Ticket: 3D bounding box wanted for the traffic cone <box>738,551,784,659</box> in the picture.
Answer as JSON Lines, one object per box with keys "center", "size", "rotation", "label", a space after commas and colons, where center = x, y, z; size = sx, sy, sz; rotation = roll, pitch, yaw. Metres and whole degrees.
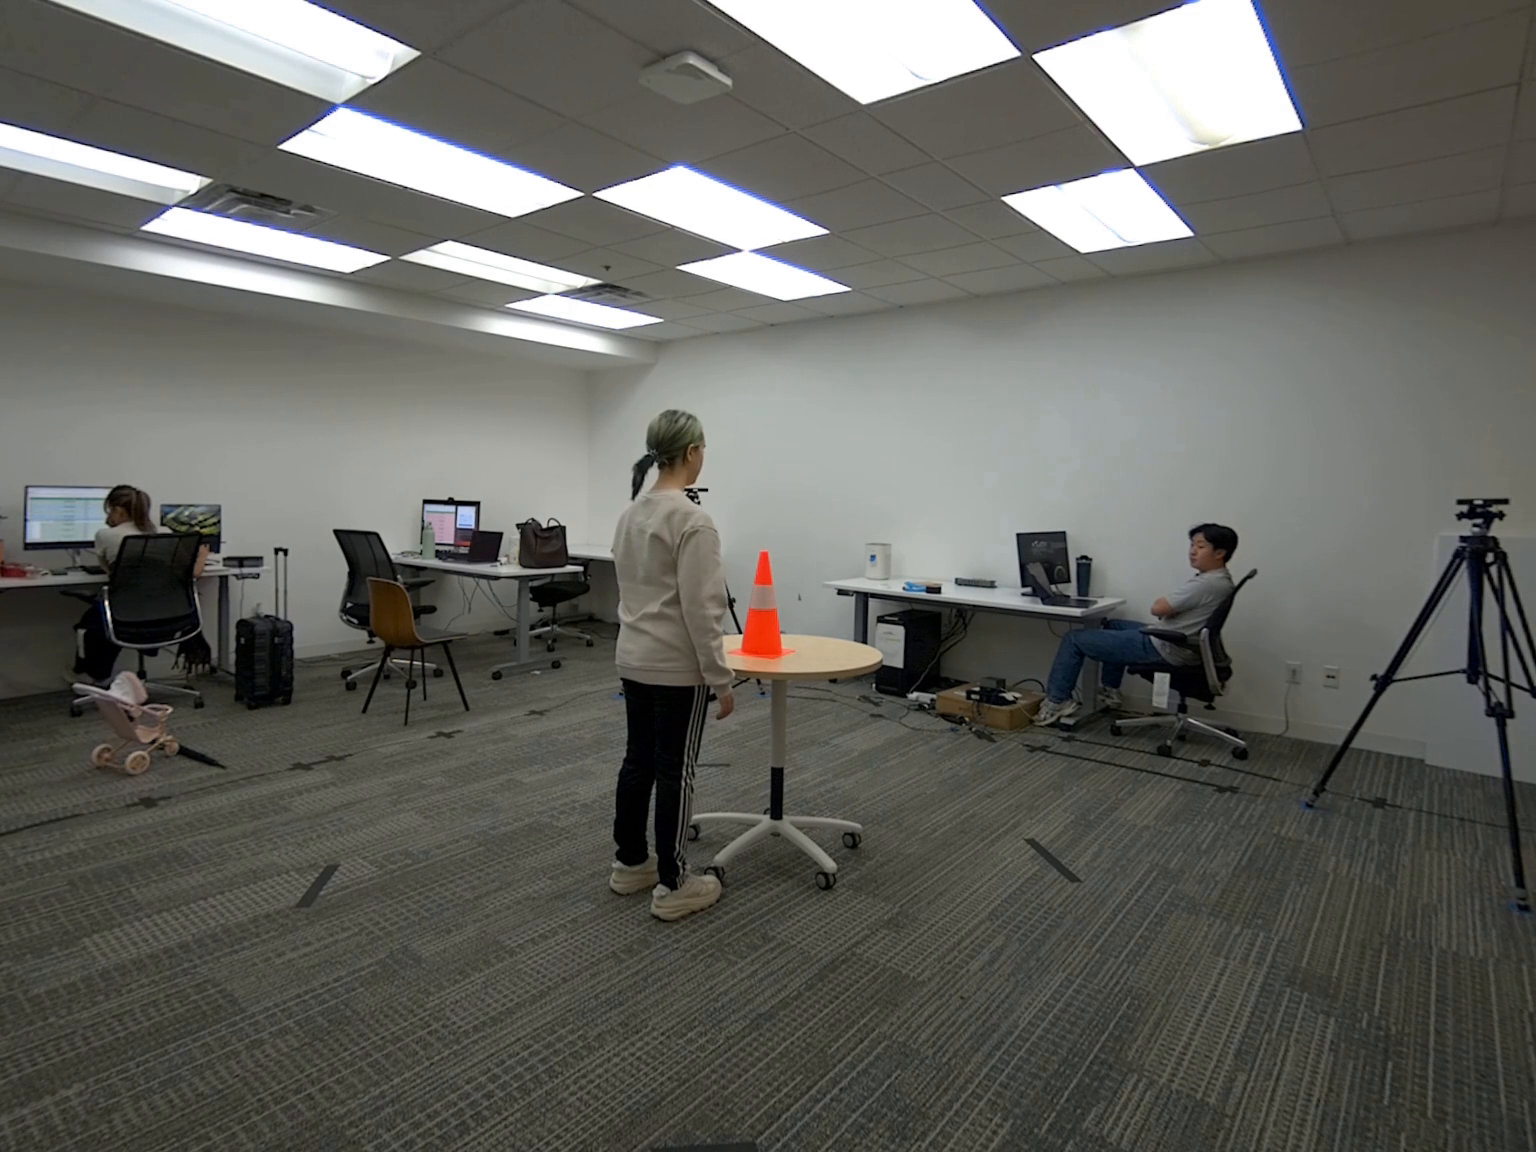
{"center": [-0.027, 0.097, 3.178], "size": [0.211, 0.382, 0.198], "rotation": [5, 4, 31], "label": "traffic cone"}
